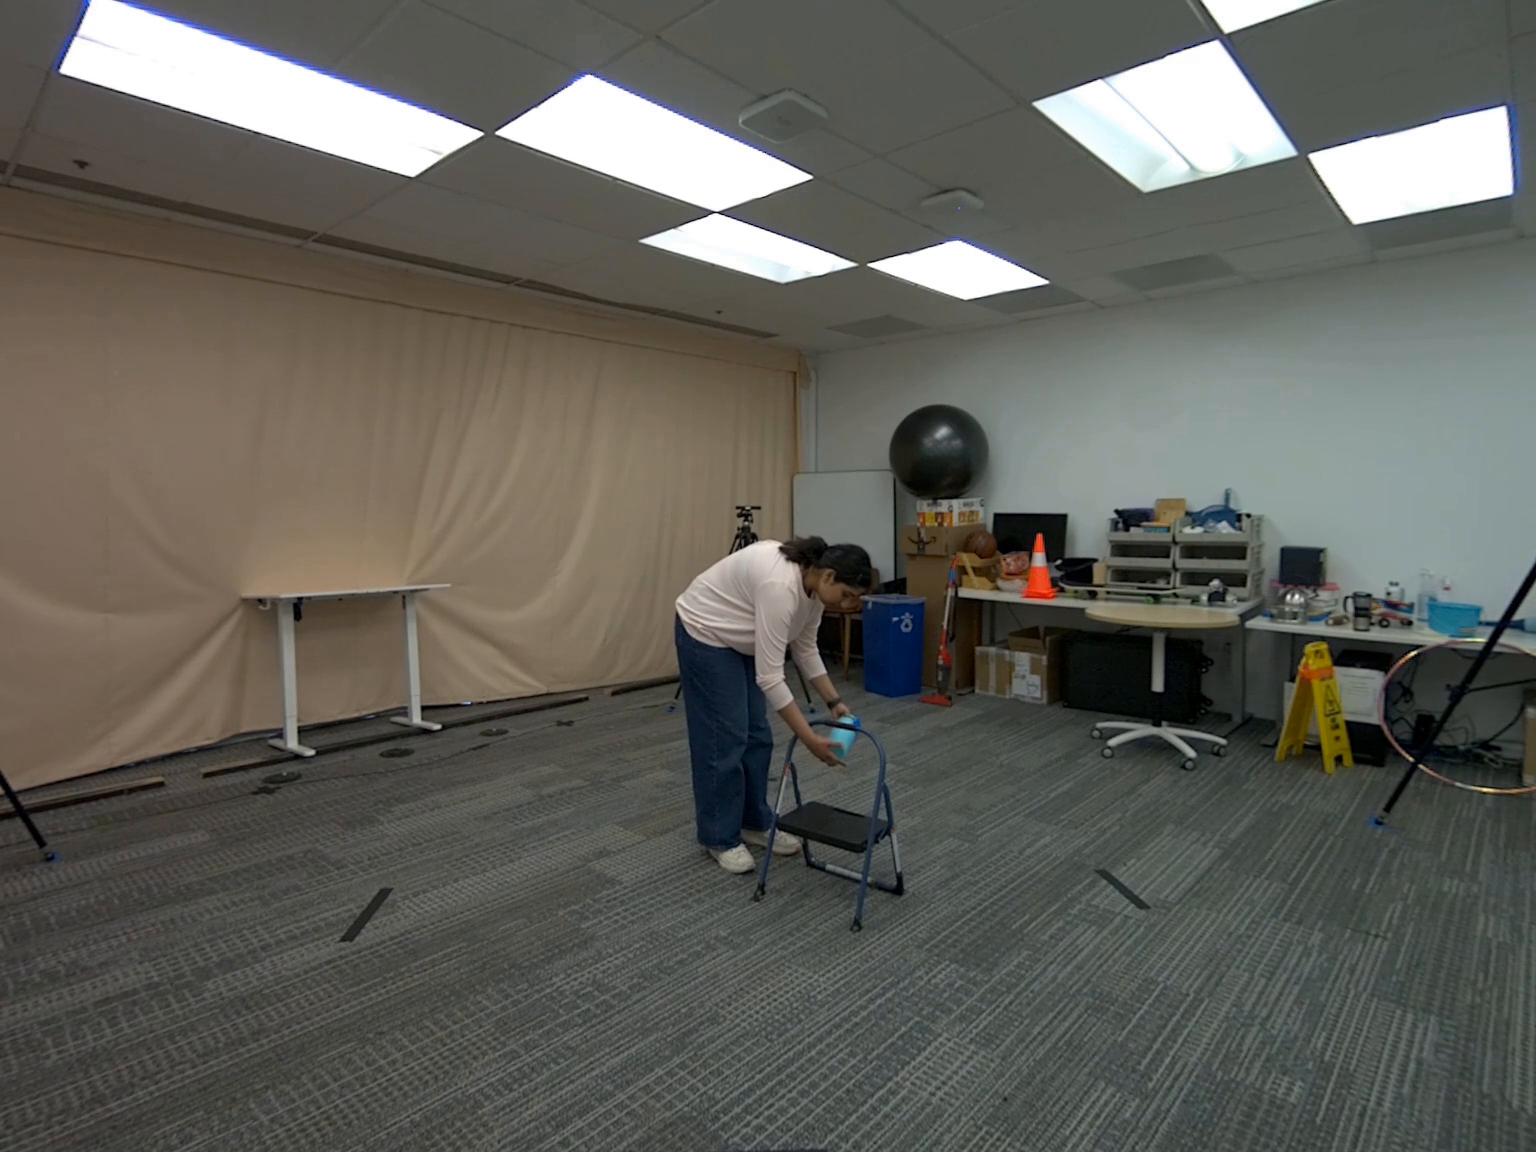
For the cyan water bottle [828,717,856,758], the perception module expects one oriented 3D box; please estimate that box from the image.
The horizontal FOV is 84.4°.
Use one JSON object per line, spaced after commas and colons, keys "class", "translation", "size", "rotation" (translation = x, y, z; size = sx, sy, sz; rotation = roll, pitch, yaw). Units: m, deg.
{"class": "cyan water bottle", "translation": [0.292, 0.608, 3.210], "size": [0.094, 0.091, 0.279], "rotation": [1, 15, 22]}
